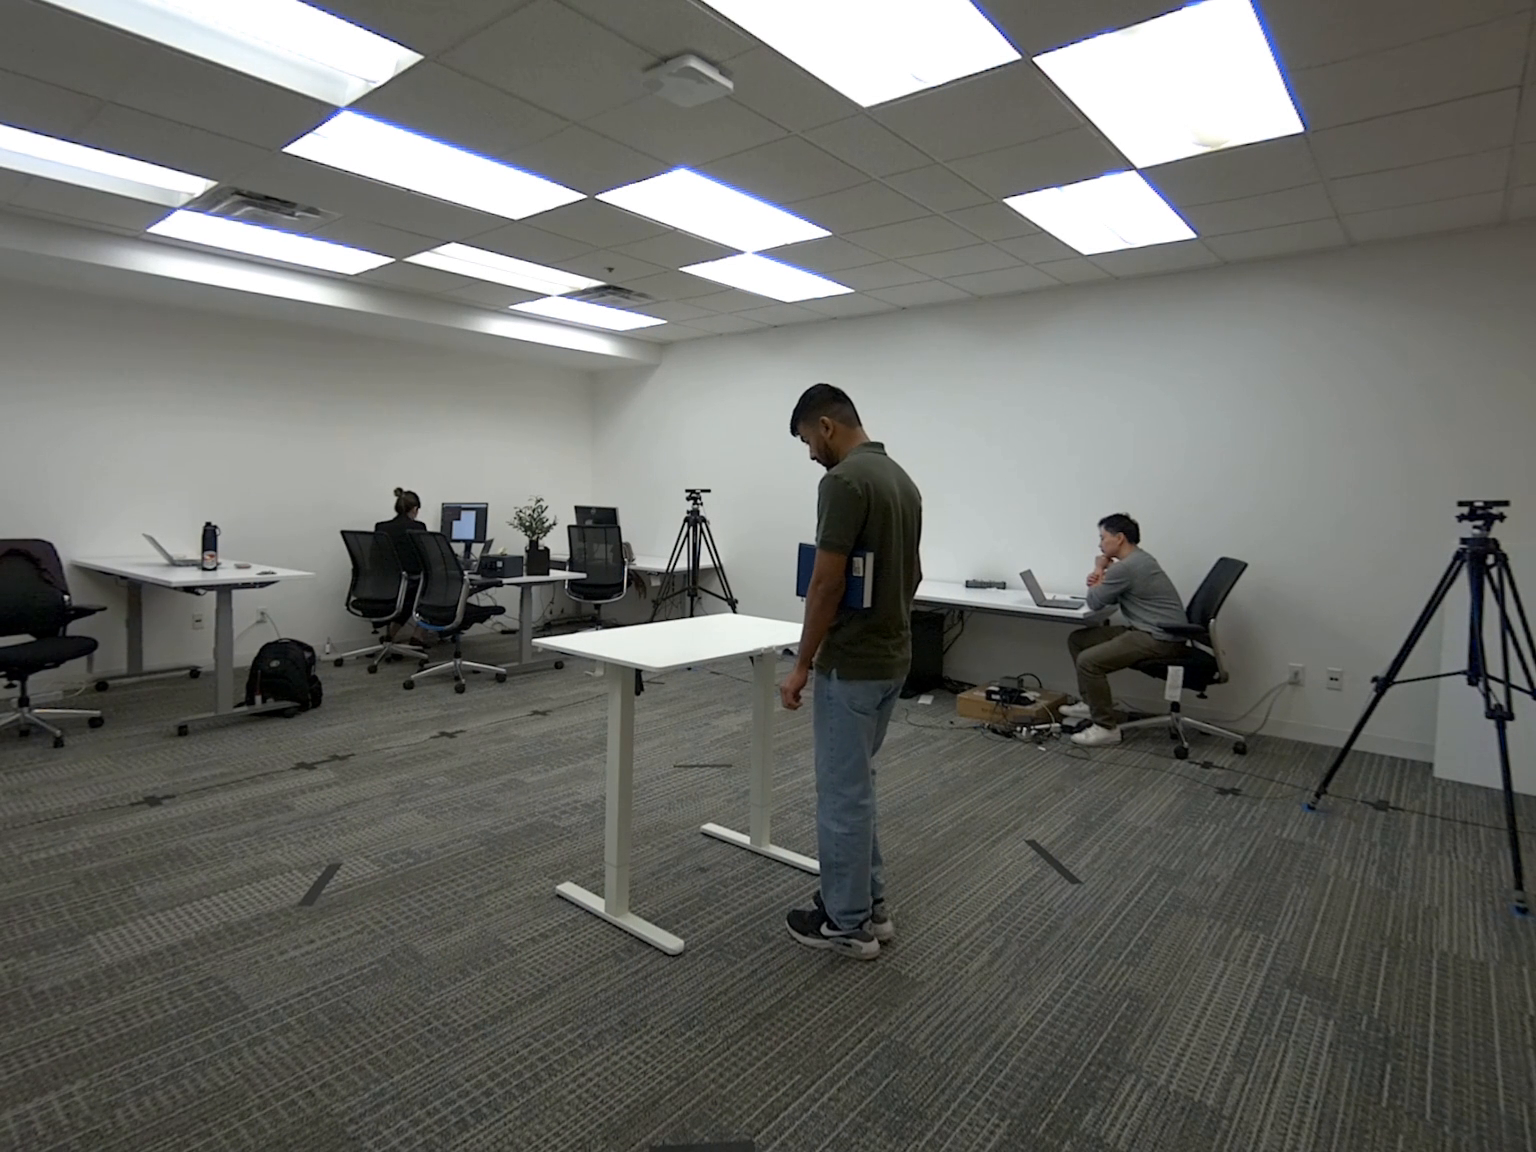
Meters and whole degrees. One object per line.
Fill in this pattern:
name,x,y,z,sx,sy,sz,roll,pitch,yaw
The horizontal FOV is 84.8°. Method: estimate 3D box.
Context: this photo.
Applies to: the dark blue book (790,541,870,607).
dark blue book,0.178,-0.006,2.461,0.254,0.162,0.044,11,9,44
